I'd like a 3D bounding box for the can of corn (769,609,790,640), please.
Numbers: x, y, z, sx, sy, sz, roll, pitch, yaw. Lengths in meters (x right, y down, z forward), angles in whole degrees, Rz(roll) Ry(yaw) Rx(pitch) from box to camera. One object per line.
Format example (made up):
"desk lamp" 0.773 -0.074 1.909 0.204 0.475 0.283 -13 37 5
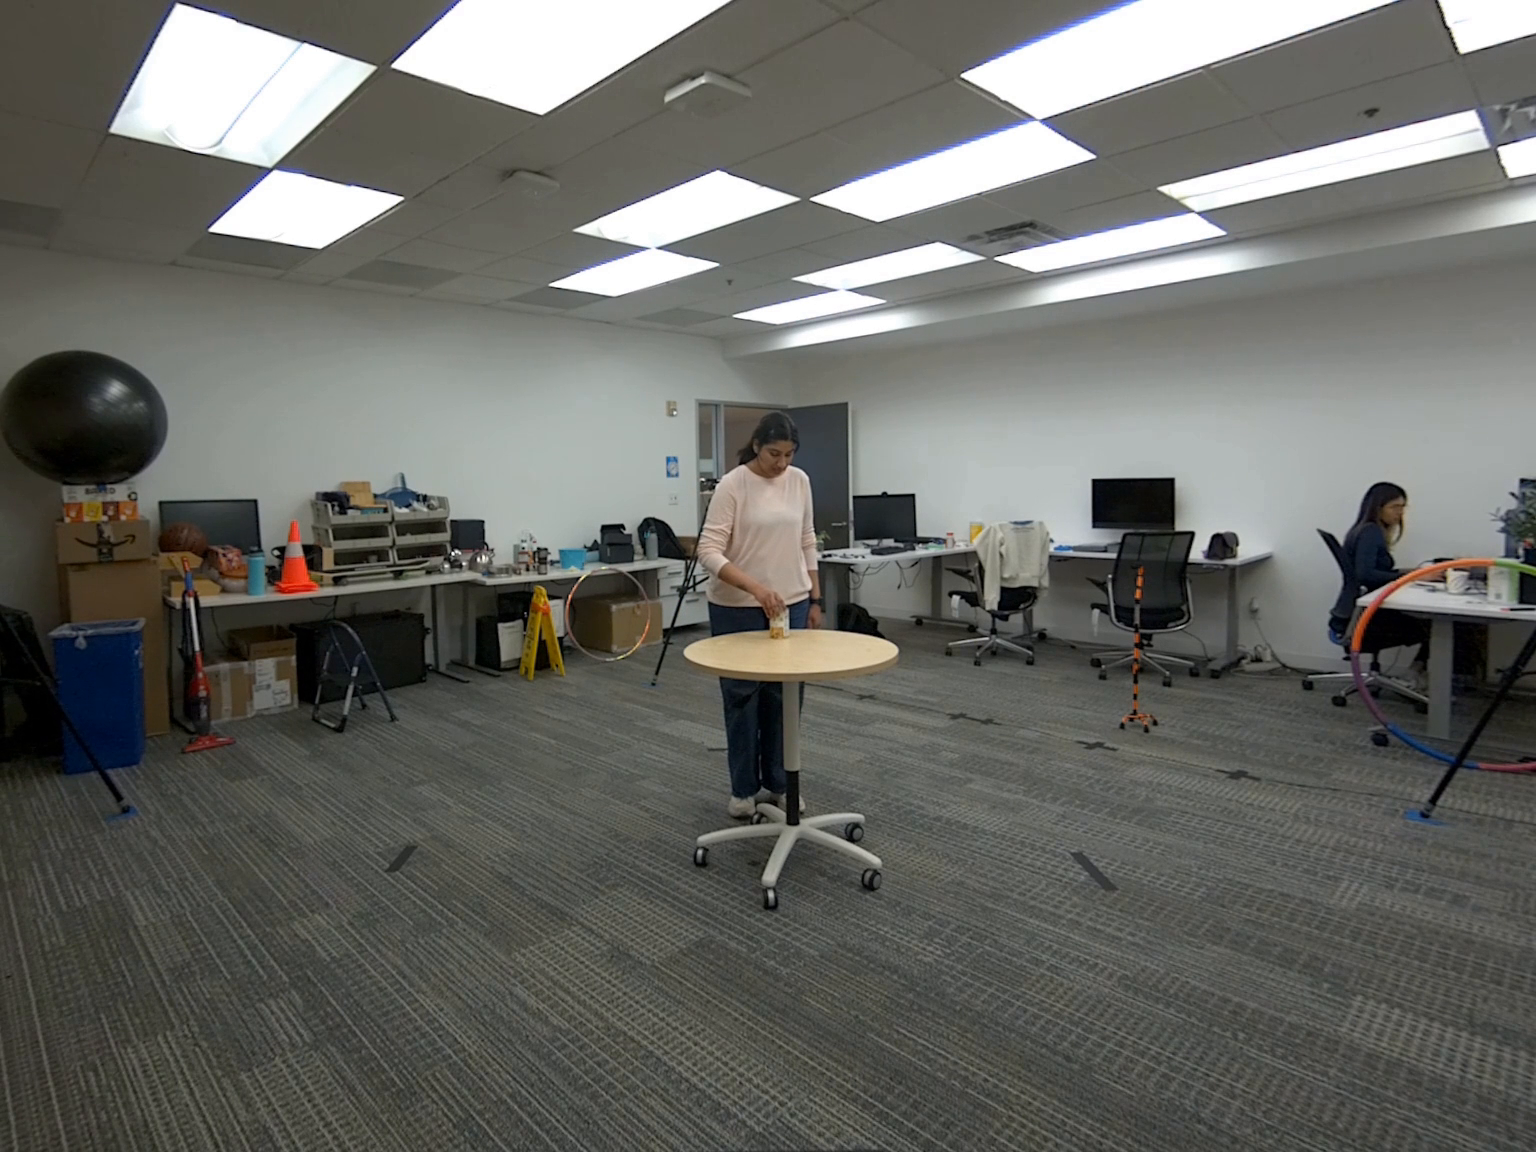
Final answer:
"can of corn" 0.044 0.185 3.292 0.074 0.111 0.074 -3 4 -1
